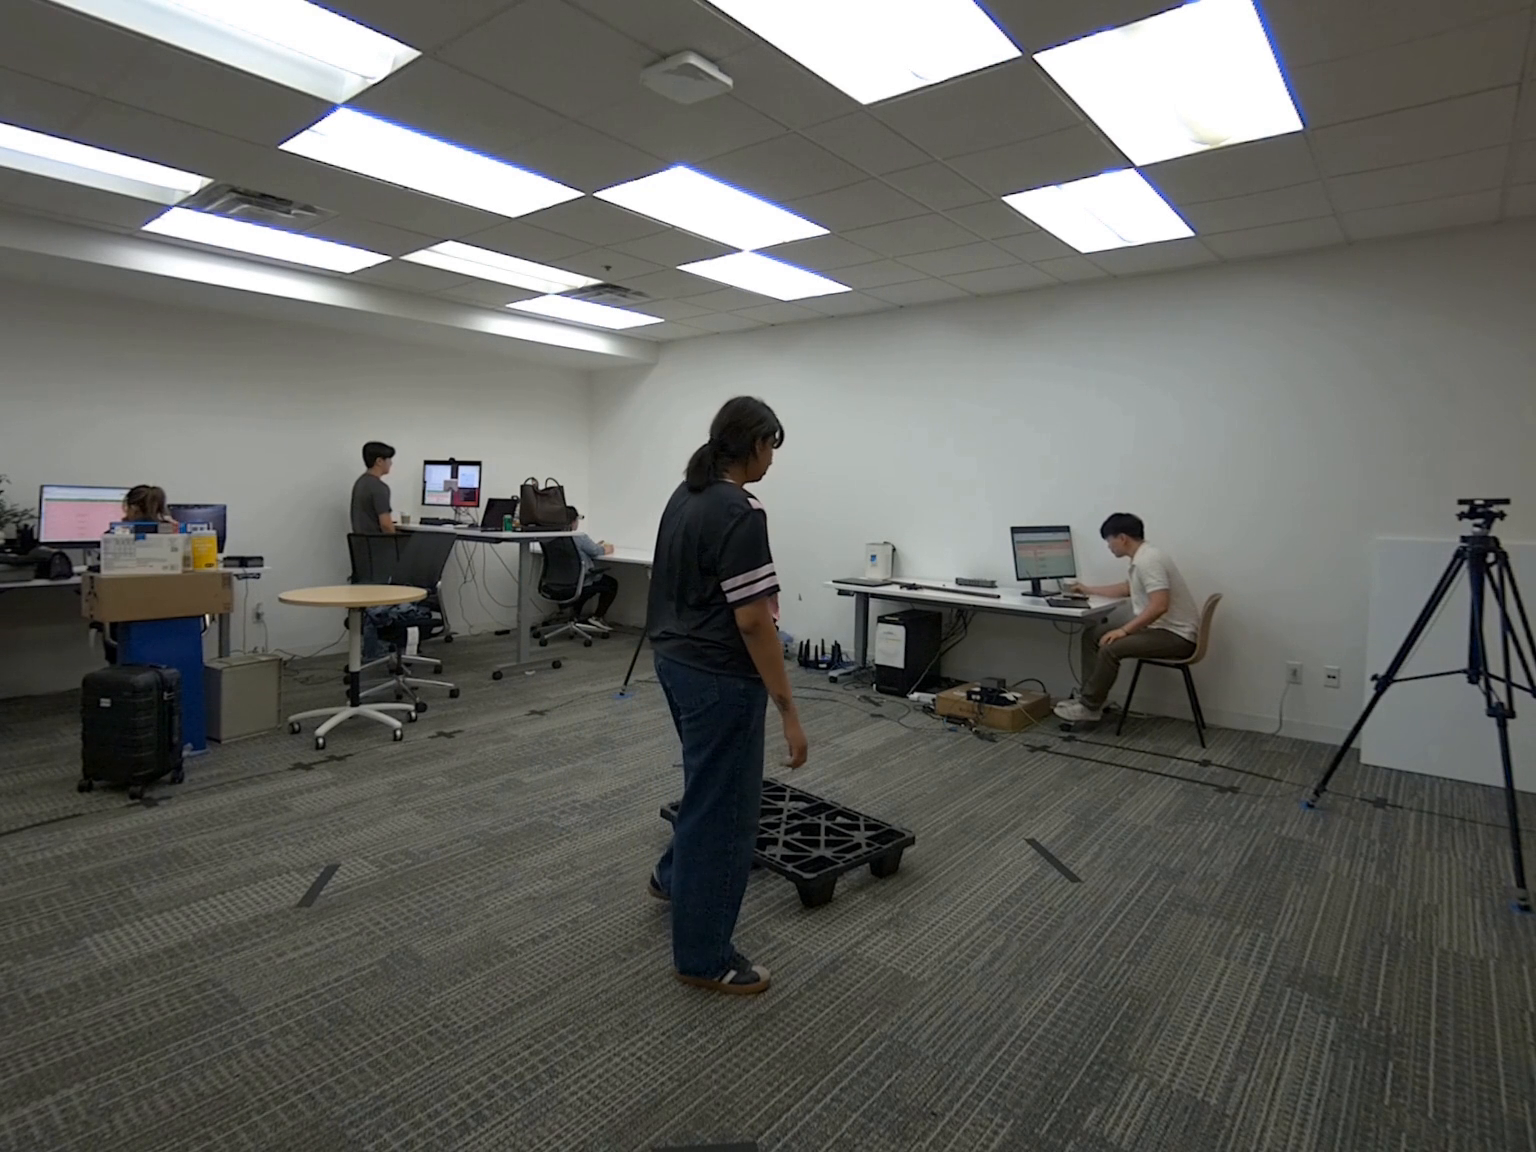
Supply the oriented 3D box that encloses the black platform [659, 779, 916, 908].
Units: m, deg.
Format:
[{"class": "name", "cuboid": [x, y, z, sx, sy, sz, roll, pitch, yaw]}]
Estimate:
[{"class": "black platform", "cuboid": [0.053, 0.996, 3.254, 0.586, 0.143, 0.834, -3, 7, -43]}]
